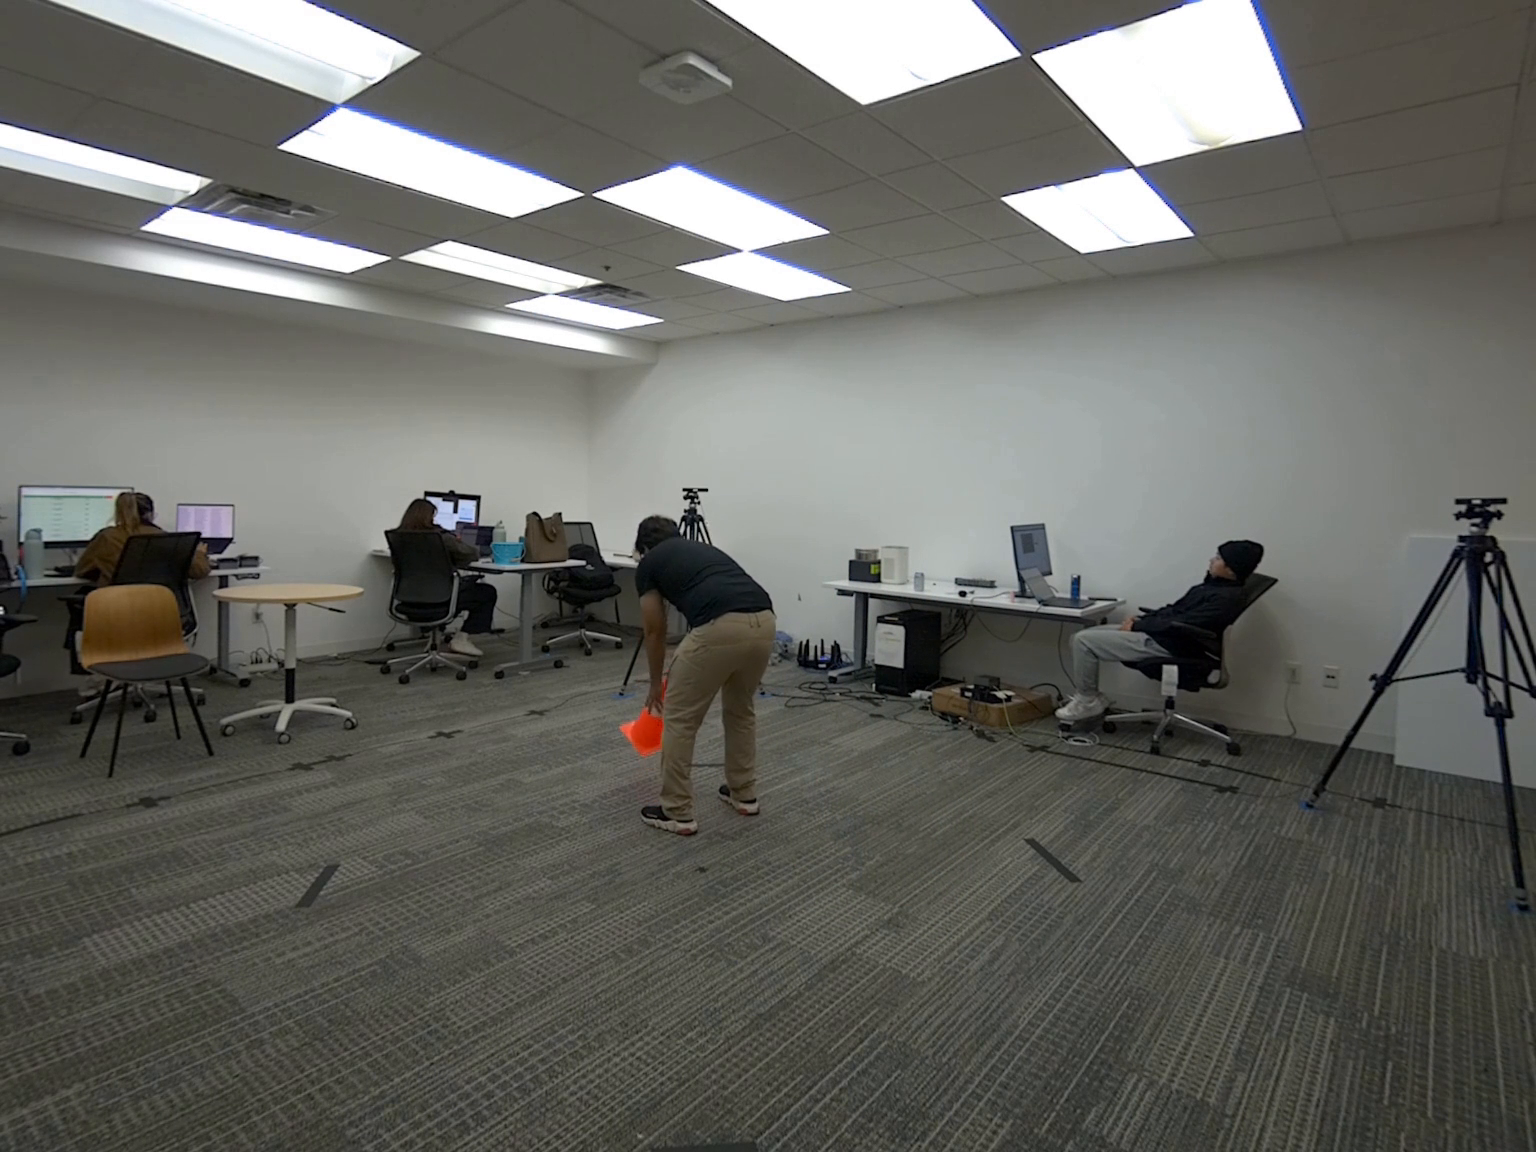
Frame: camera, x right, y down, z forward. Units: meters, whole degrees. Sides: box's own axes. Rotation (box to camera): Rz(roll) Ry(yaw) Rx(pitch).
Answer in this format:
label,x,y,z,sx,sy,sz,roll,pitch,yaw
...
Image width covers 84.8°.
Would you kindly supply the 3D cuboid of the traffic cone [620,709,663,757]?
label,x,y,z,sx,sy,sz,roll,pitch,yaw
traffic cone,-0.515,0.600,3.911,0.198,0.379,0.213,-11,44,-47
